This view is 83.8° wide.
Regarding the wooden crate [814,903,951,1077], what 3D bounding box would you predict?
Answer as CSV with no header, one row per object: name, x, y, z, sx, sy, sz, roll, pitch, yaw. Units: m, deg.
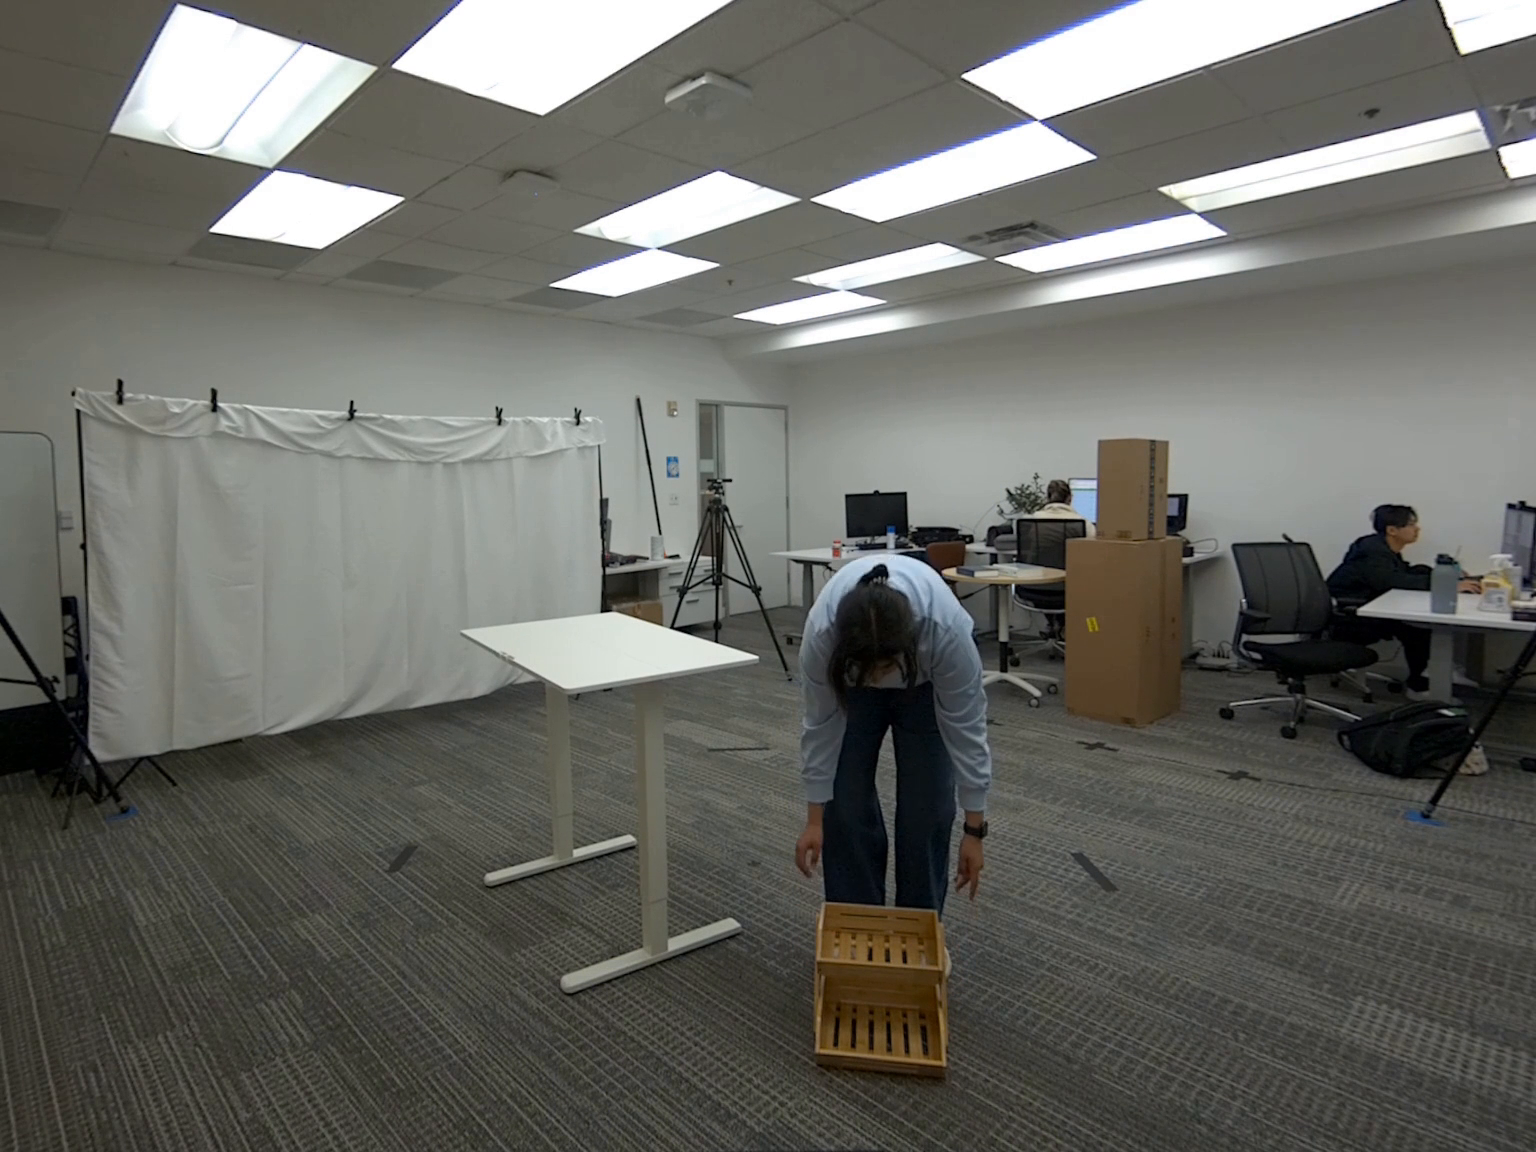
wooden crate,0.288,1.027,2.124,0.327,0.272,0.300,0,5,8
